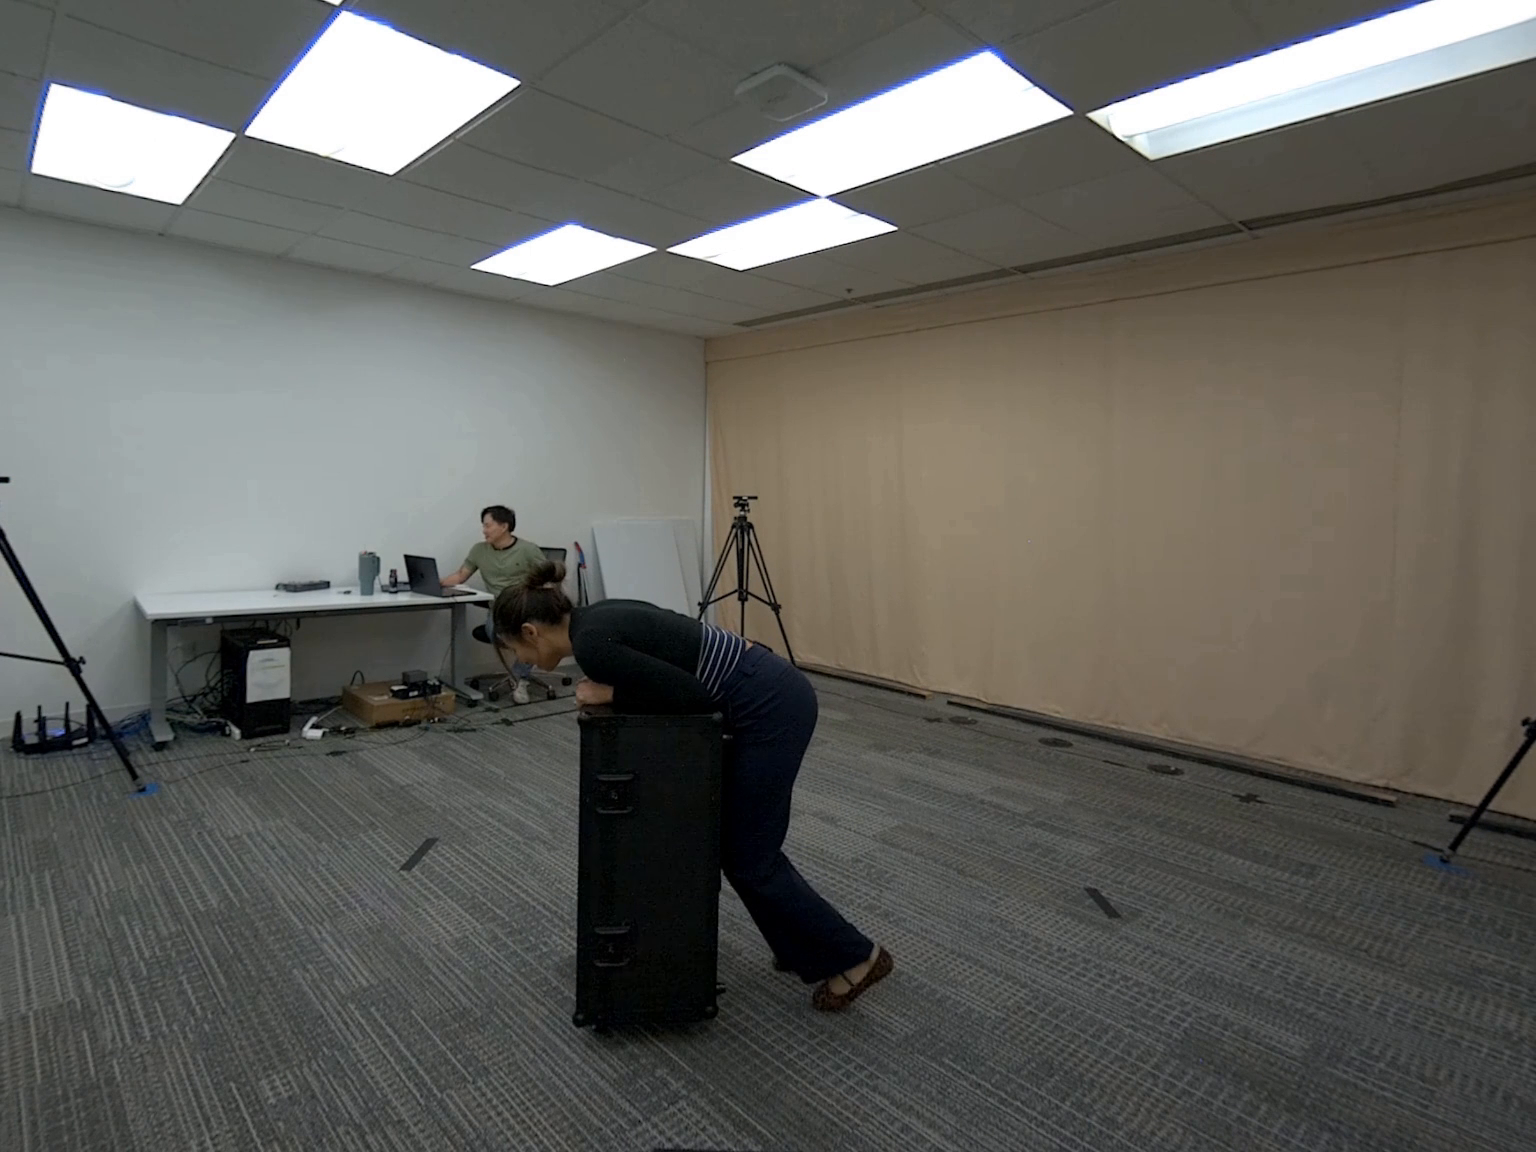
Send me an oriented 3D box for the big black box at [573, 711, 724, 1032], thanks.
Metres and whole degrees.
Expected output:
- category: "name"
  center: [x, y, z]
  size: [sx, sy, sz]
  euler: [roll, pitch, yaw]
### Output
- category: "big black box"
  center: [-0.329, 0.746, 2.329]
  size: [0.393, 0.860, 0.526]
  euler: [2, 3, -9]
